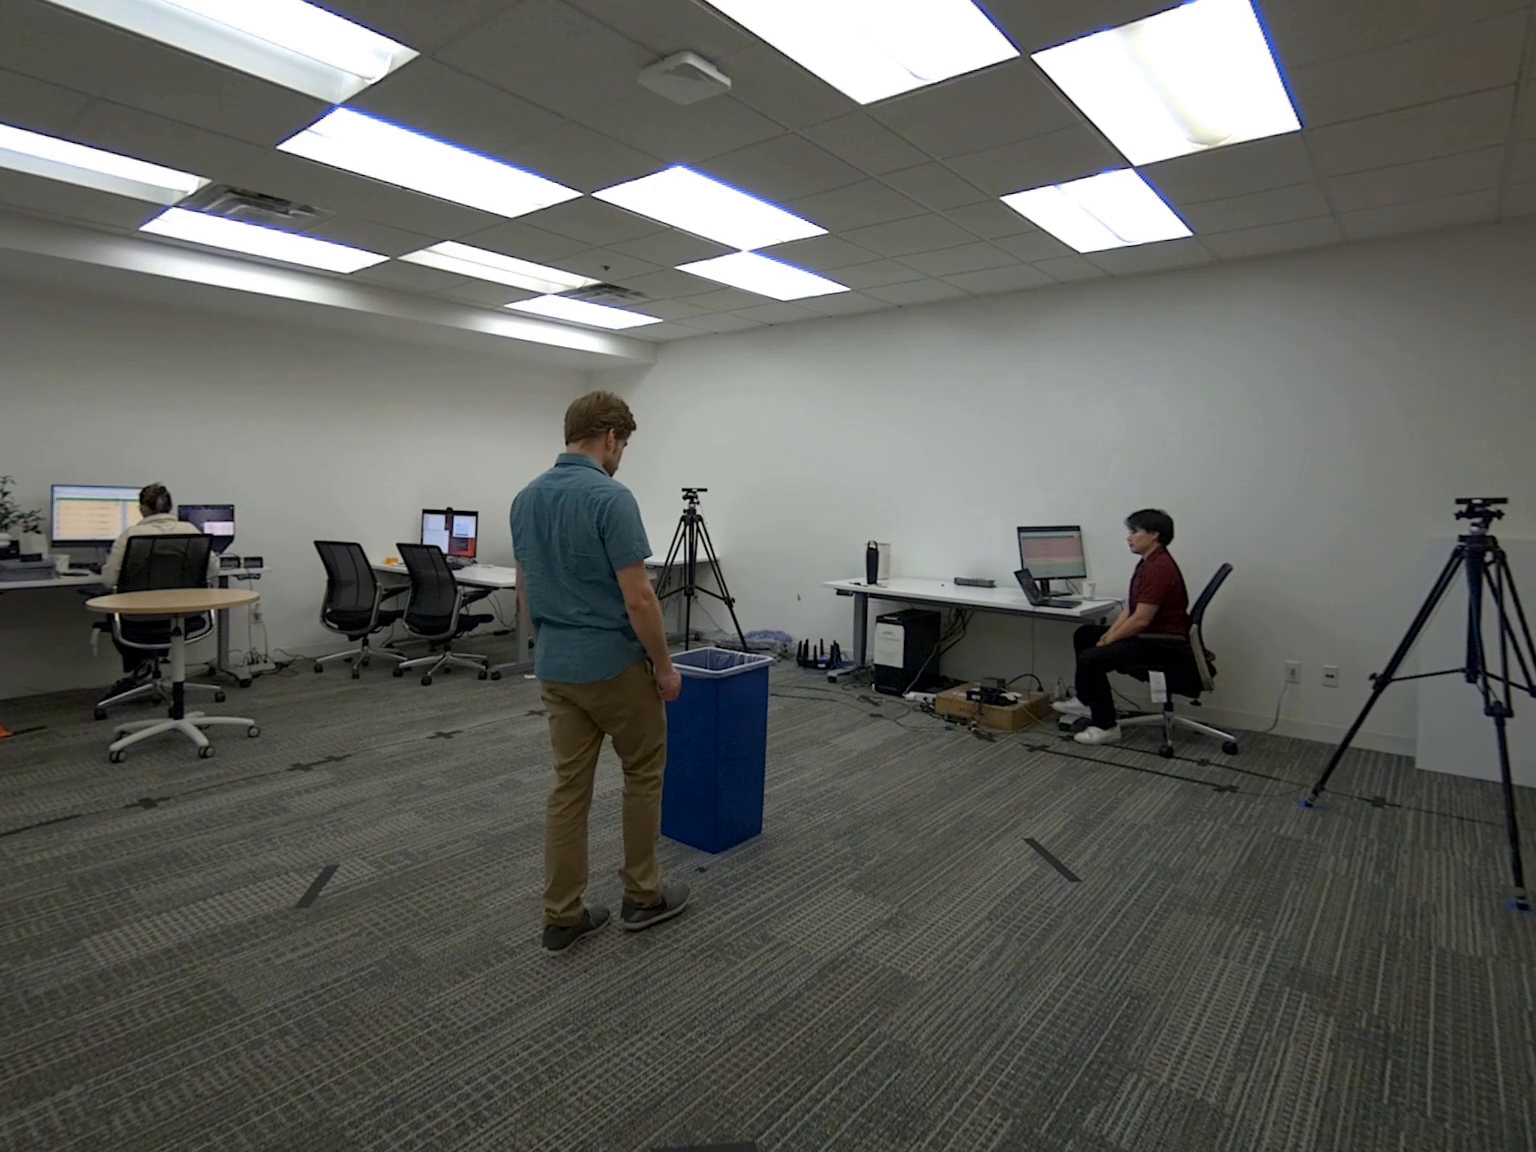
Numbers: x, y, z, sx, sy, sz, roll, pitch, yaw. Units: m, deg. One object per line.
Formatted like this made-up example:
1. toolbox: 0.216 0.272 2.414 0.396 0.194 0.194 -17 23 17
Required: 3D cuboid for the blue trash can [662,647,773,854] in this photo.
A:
1. blue trash can: -0.227 0.683 3.425 0.386 0.712 0.367 2 3 38
